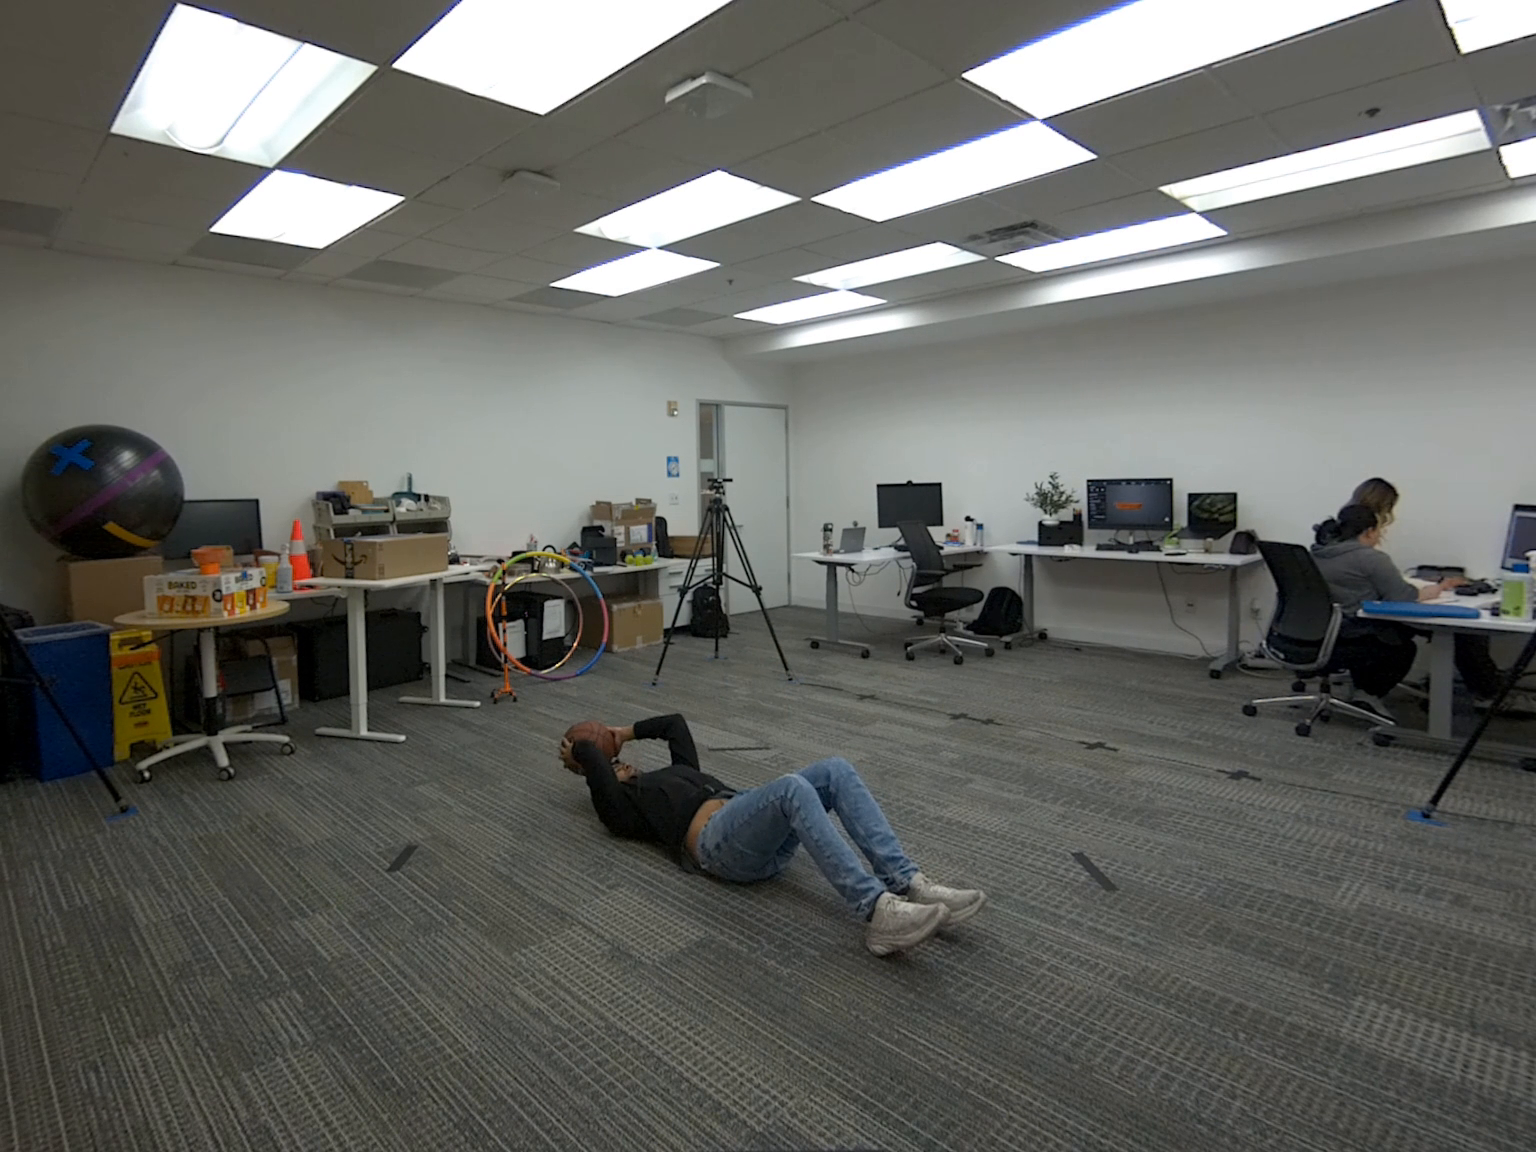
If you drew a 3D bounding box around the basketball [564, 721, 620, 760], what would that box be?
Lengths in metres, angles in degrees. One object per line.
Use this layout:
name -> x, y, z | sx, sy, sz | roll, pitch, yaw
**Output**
basketball -> -0.795, 0.761, 3.780 | 0.236, 0.235, 0.237 | -1, 5, -2
